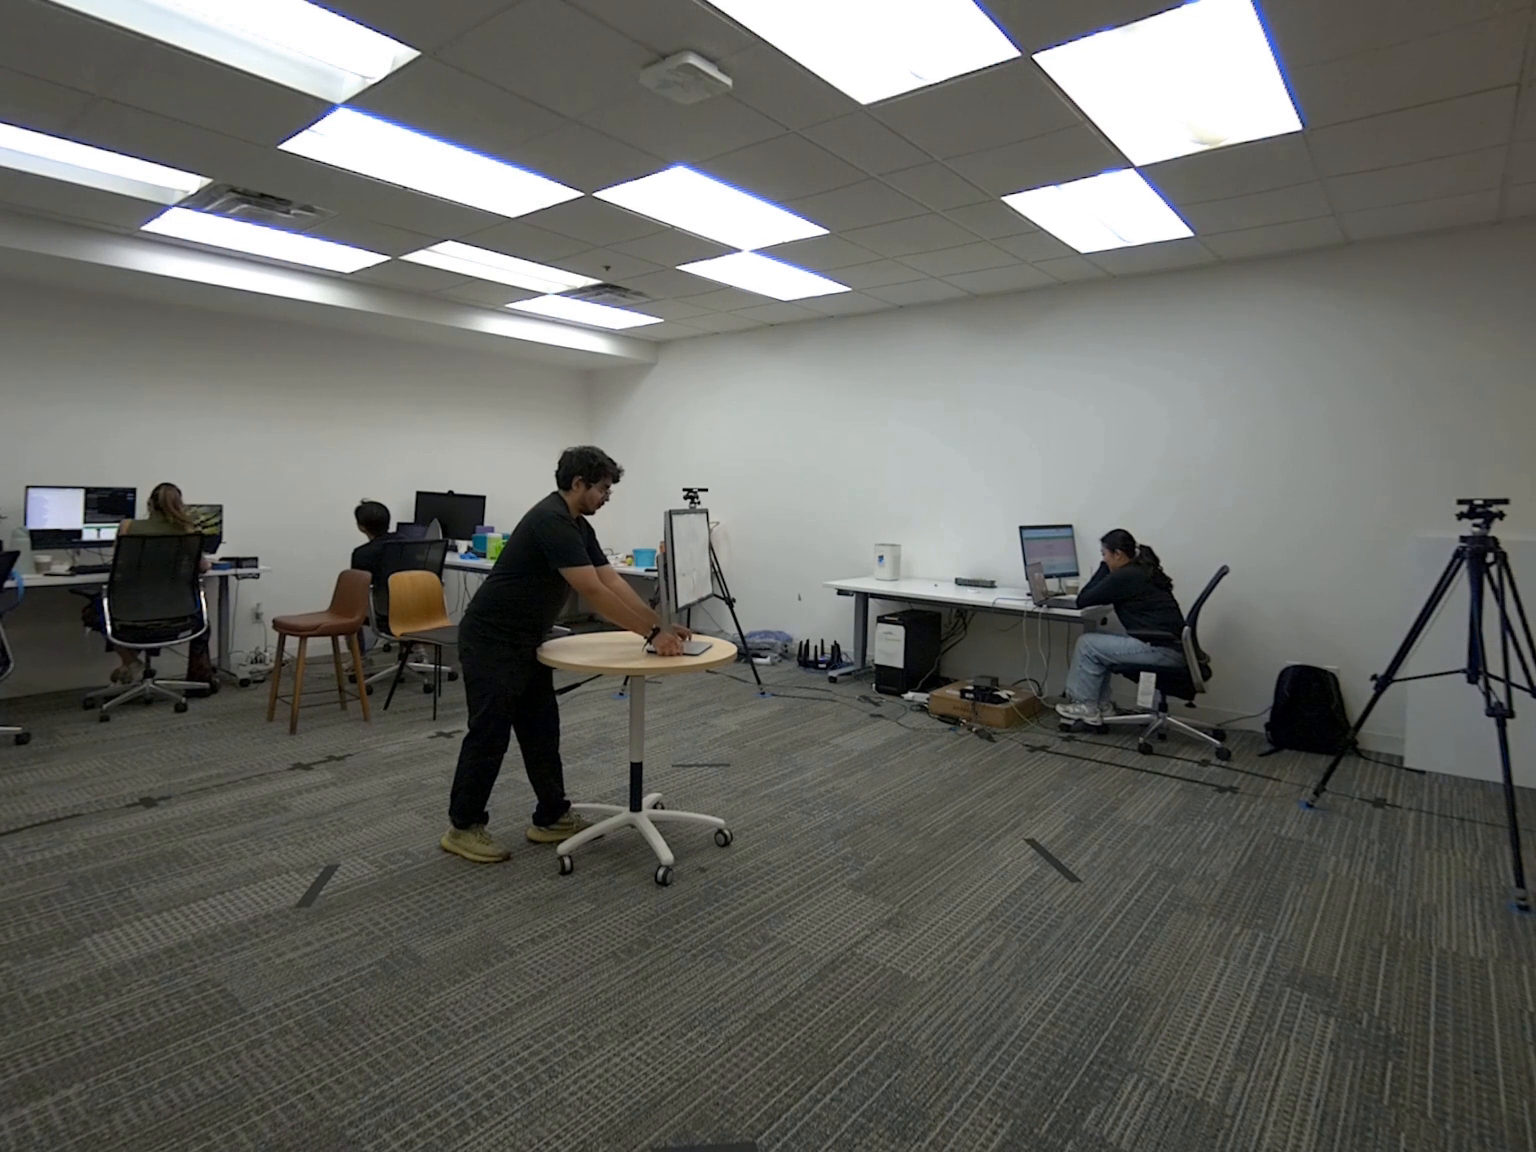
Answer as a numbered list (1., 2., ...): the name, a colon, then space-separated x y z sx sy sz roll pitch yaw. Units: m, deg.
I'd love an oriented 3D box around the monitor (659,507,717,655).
1. monitor: -0.366 0.014 3.241 0.212 0.553 0.560 0 3 9
